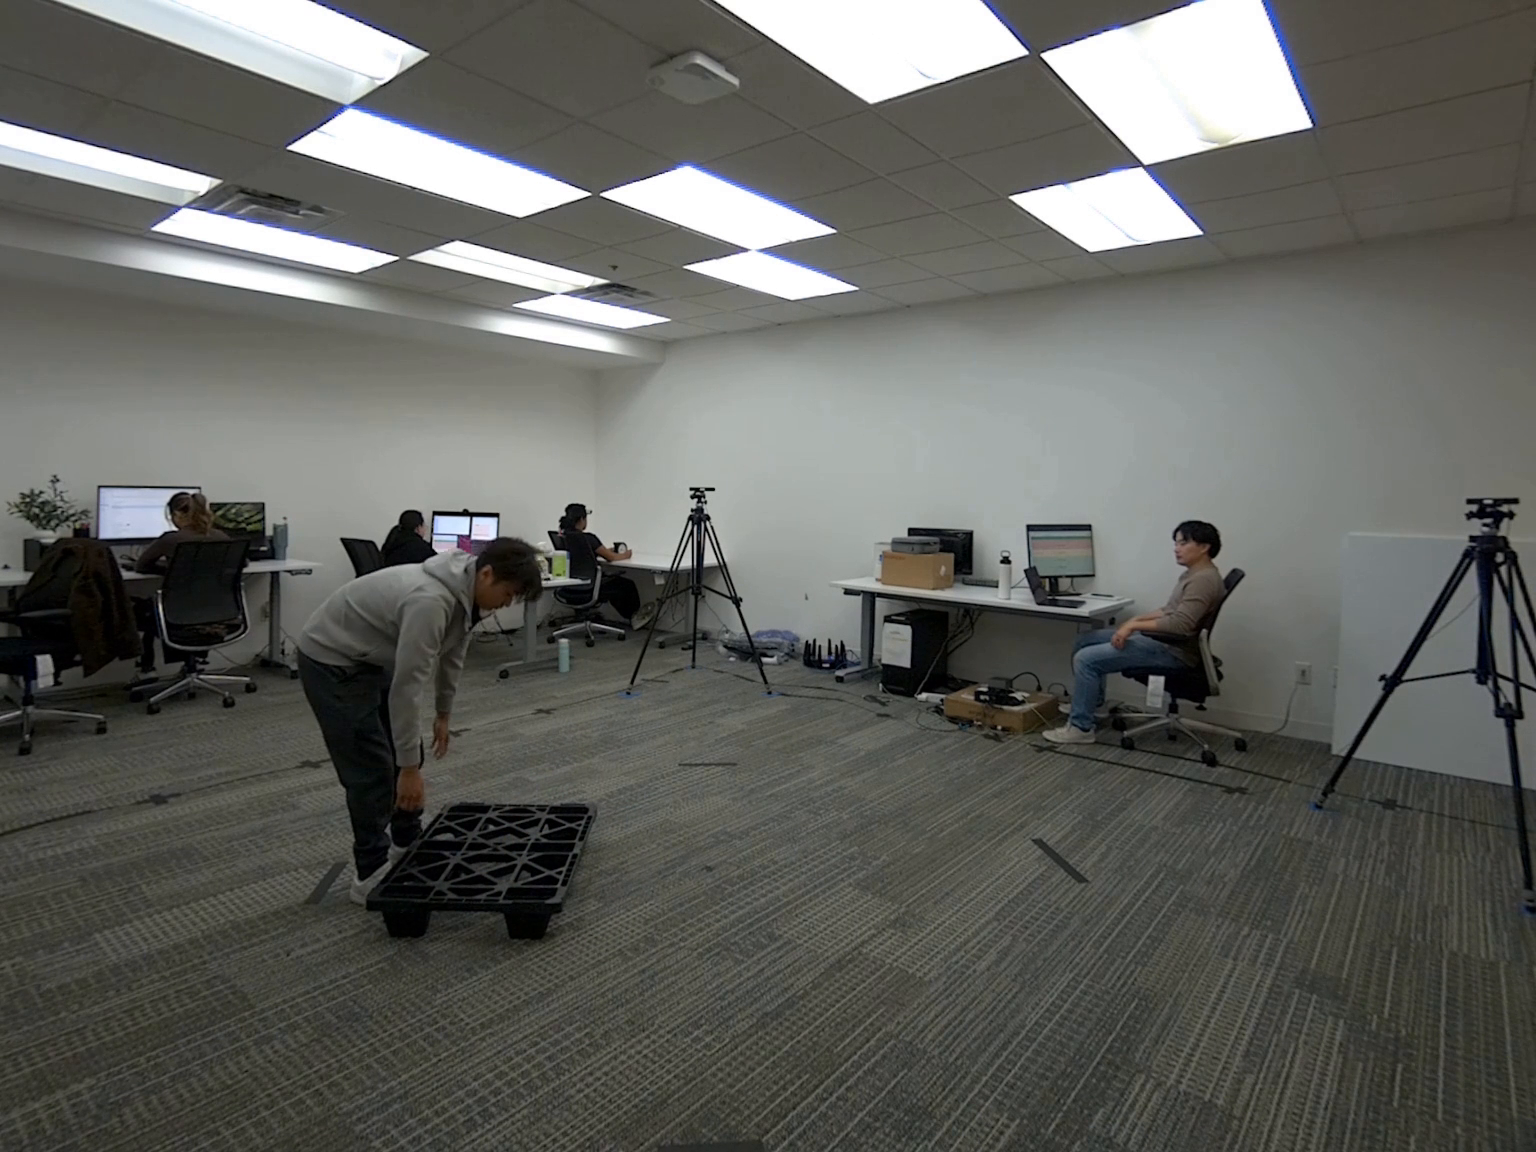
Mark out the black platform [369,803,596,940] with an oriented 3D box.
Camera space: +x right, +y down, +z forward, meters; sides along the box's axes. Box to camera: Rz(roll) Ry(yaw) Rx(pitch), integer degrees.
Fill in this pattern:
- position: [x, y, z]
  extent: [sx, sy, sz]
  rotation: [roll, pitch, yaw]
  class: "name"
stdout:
- position: [-0.957, 1.000, 2.958]
  extent: [0.604, 0.143, 0.810]
  rotation: [-1, 6, -2]
  class: "black platform"
